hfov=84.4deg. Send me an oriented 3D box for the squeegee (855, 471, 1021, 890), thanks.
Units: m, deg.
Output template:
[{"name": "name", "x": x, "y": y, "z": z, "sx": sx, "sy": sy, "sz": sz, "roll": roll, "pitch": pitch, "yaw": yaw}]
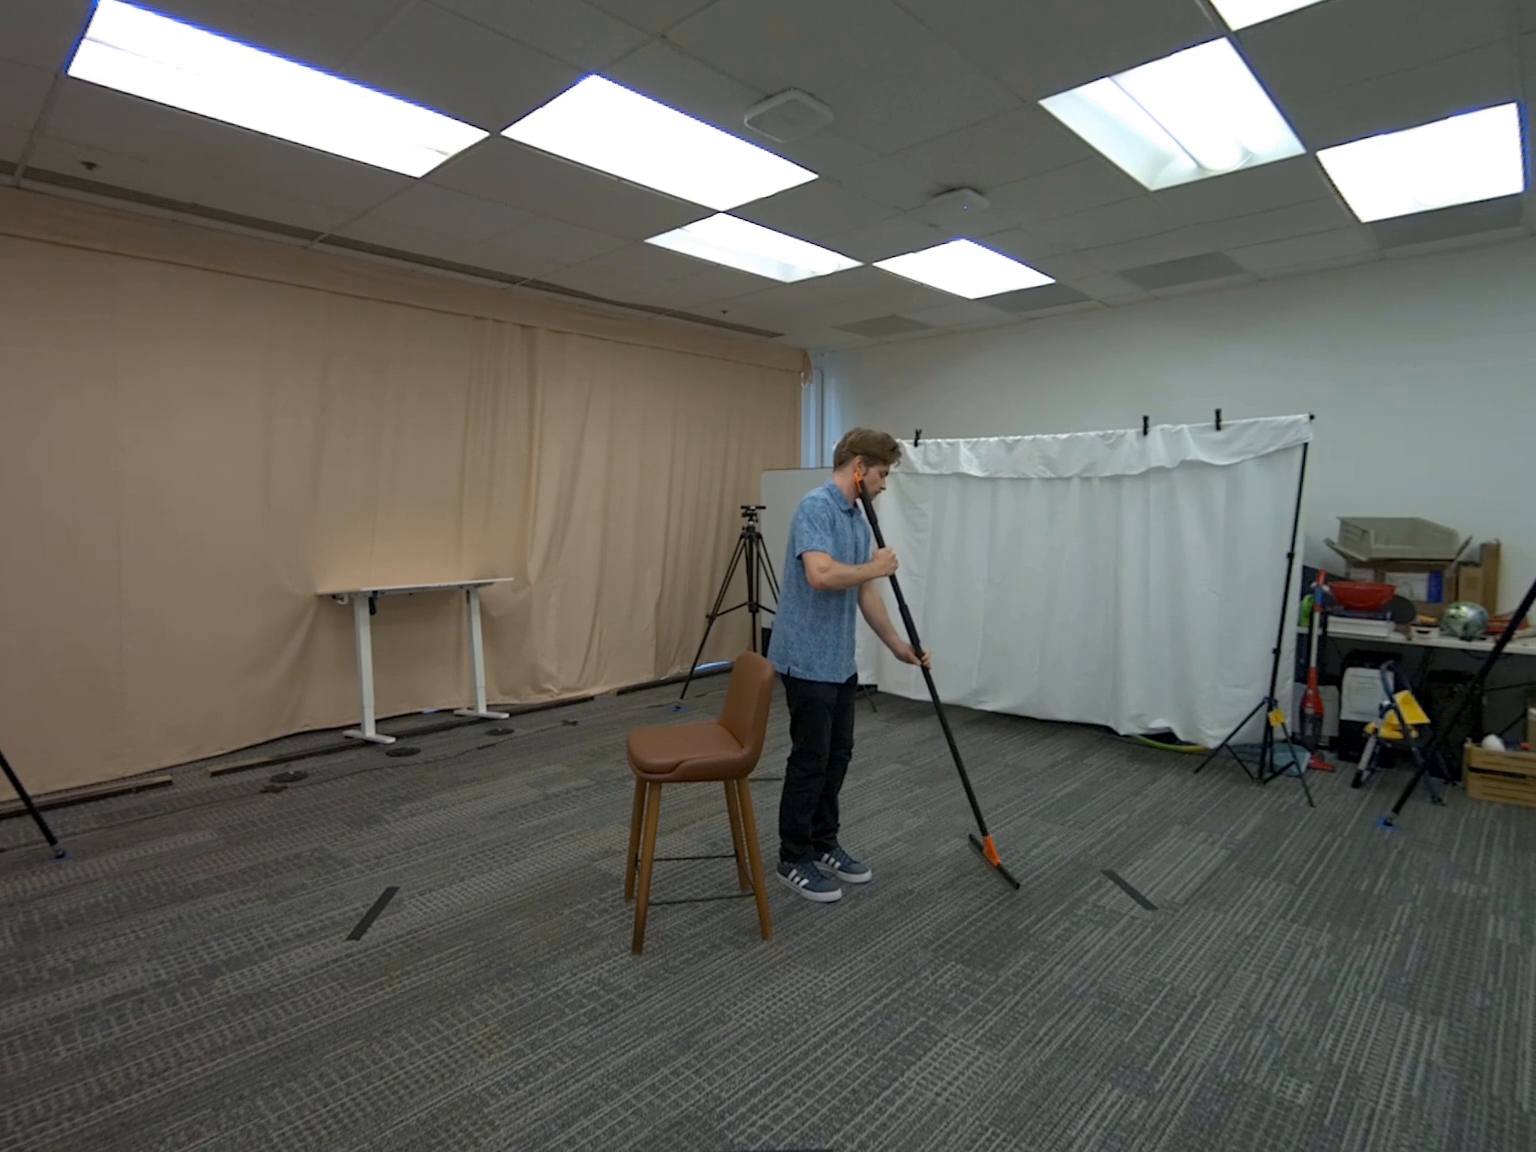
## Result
[{"name": "squeegee", "x": 0.597, "y": 0.378, "z": 3.029, "sx": 0.053, "sy": 1.524, "sz": 0.442, "roll": -20, "pitch": 9, "yaw": -4}]
